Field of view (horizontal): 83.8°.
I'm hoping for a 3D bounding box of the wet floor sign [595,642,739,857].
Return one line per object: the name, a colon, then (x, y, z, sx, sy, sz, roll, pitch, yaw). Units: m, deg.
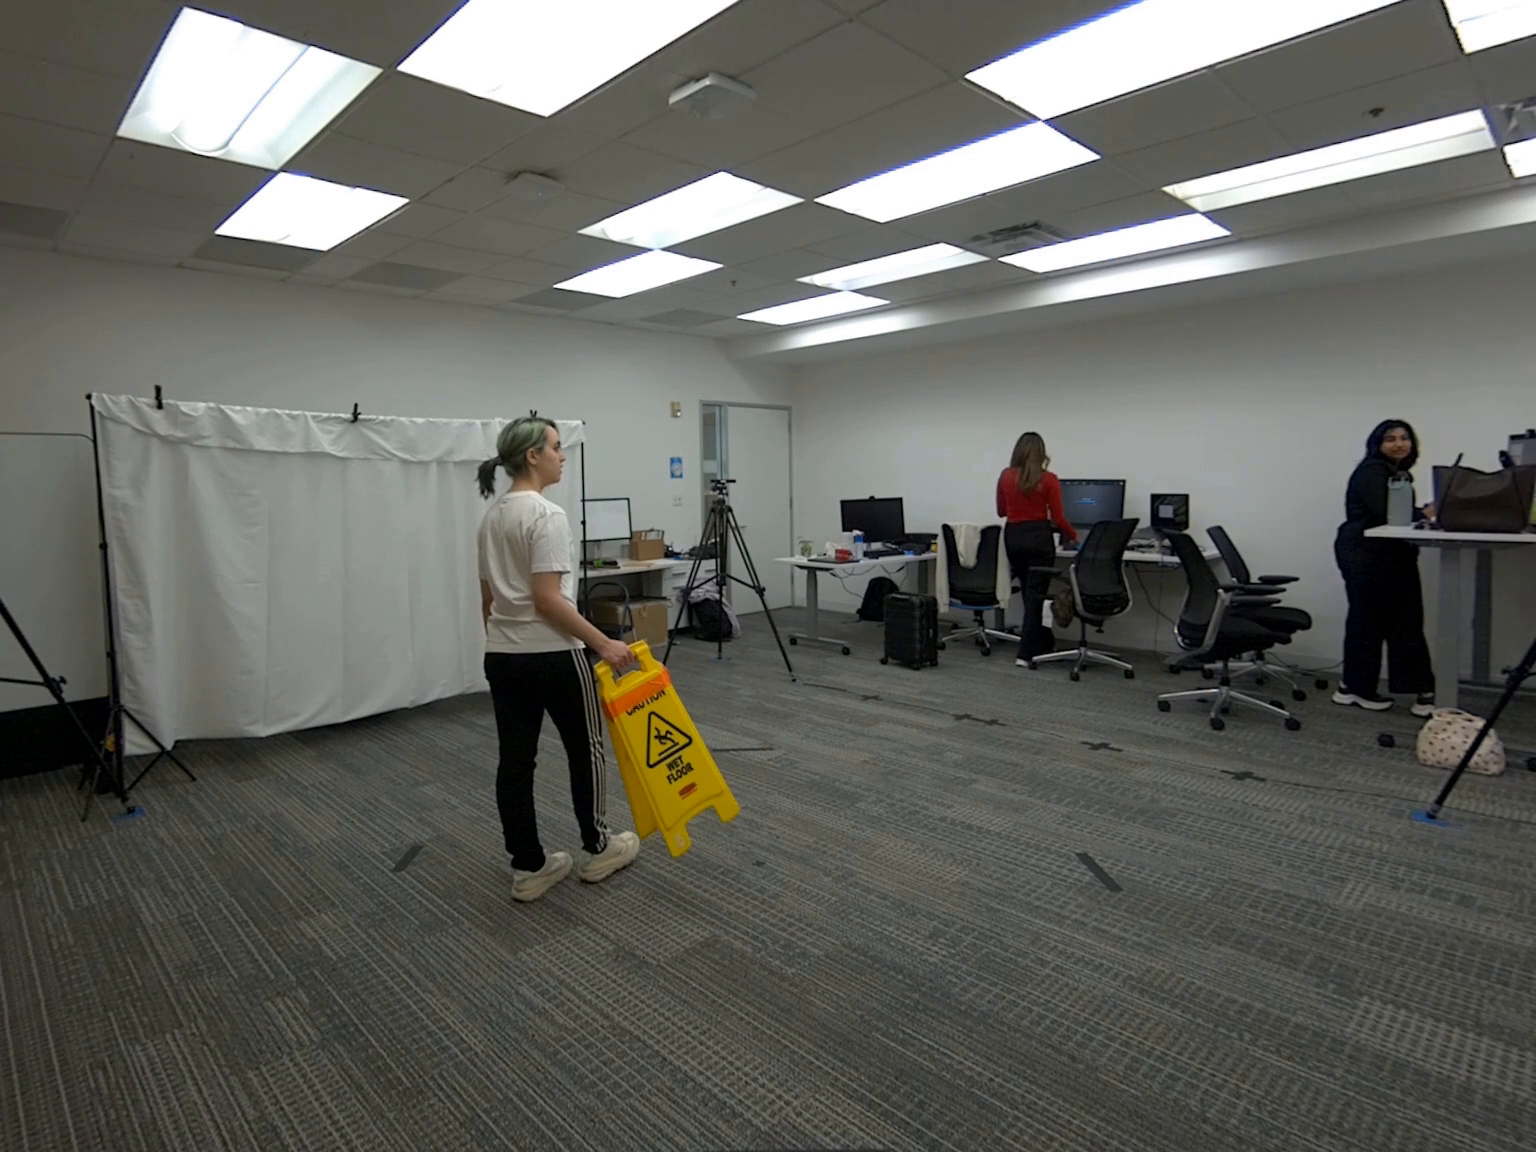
wet floor sign: (-0.376, 0.547, 2.846, 0.278, 0.639, 0.296, -25, 10, -30)
